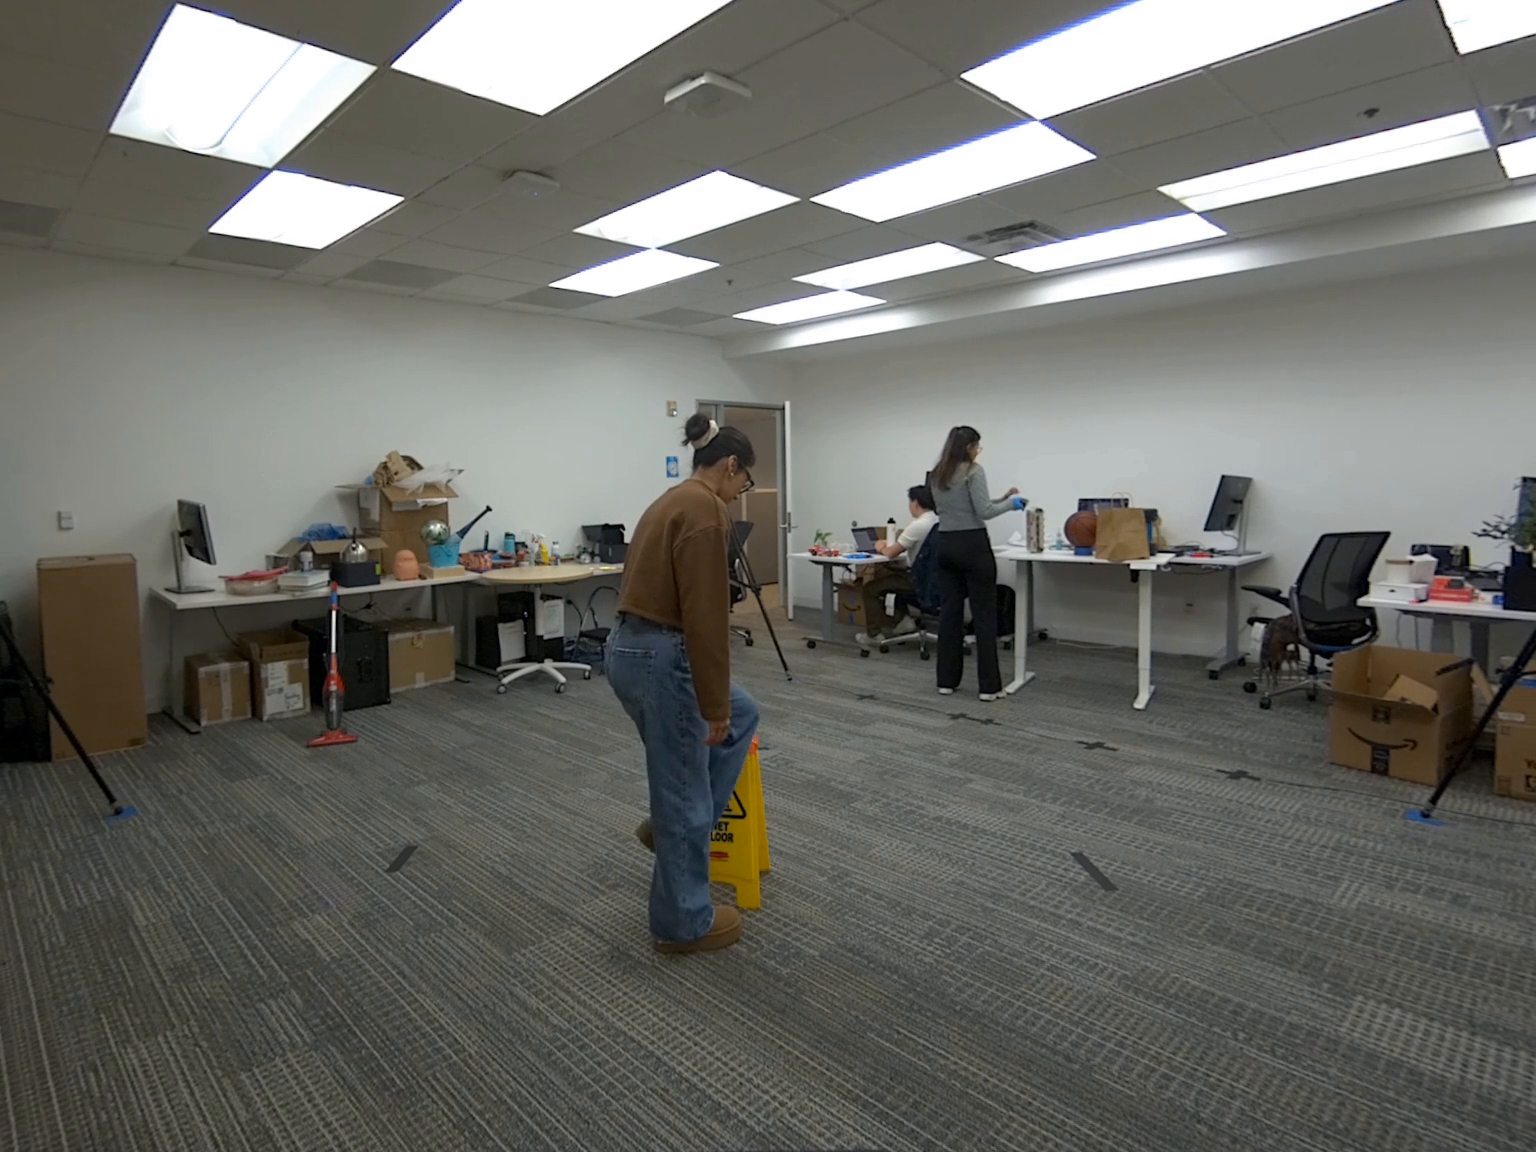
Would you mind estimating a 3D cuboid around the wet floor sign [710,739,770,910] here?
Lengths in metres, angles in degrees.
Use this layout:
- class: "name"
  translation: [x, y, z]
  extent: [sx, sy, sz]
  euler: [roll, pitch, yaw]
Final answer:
- class: "wet floor sign"
  translation: [-0.139, 0.752, 2.910]
  extent: [0.285, 0.643, 0.288]
  euler: [-1, 5, 9]
